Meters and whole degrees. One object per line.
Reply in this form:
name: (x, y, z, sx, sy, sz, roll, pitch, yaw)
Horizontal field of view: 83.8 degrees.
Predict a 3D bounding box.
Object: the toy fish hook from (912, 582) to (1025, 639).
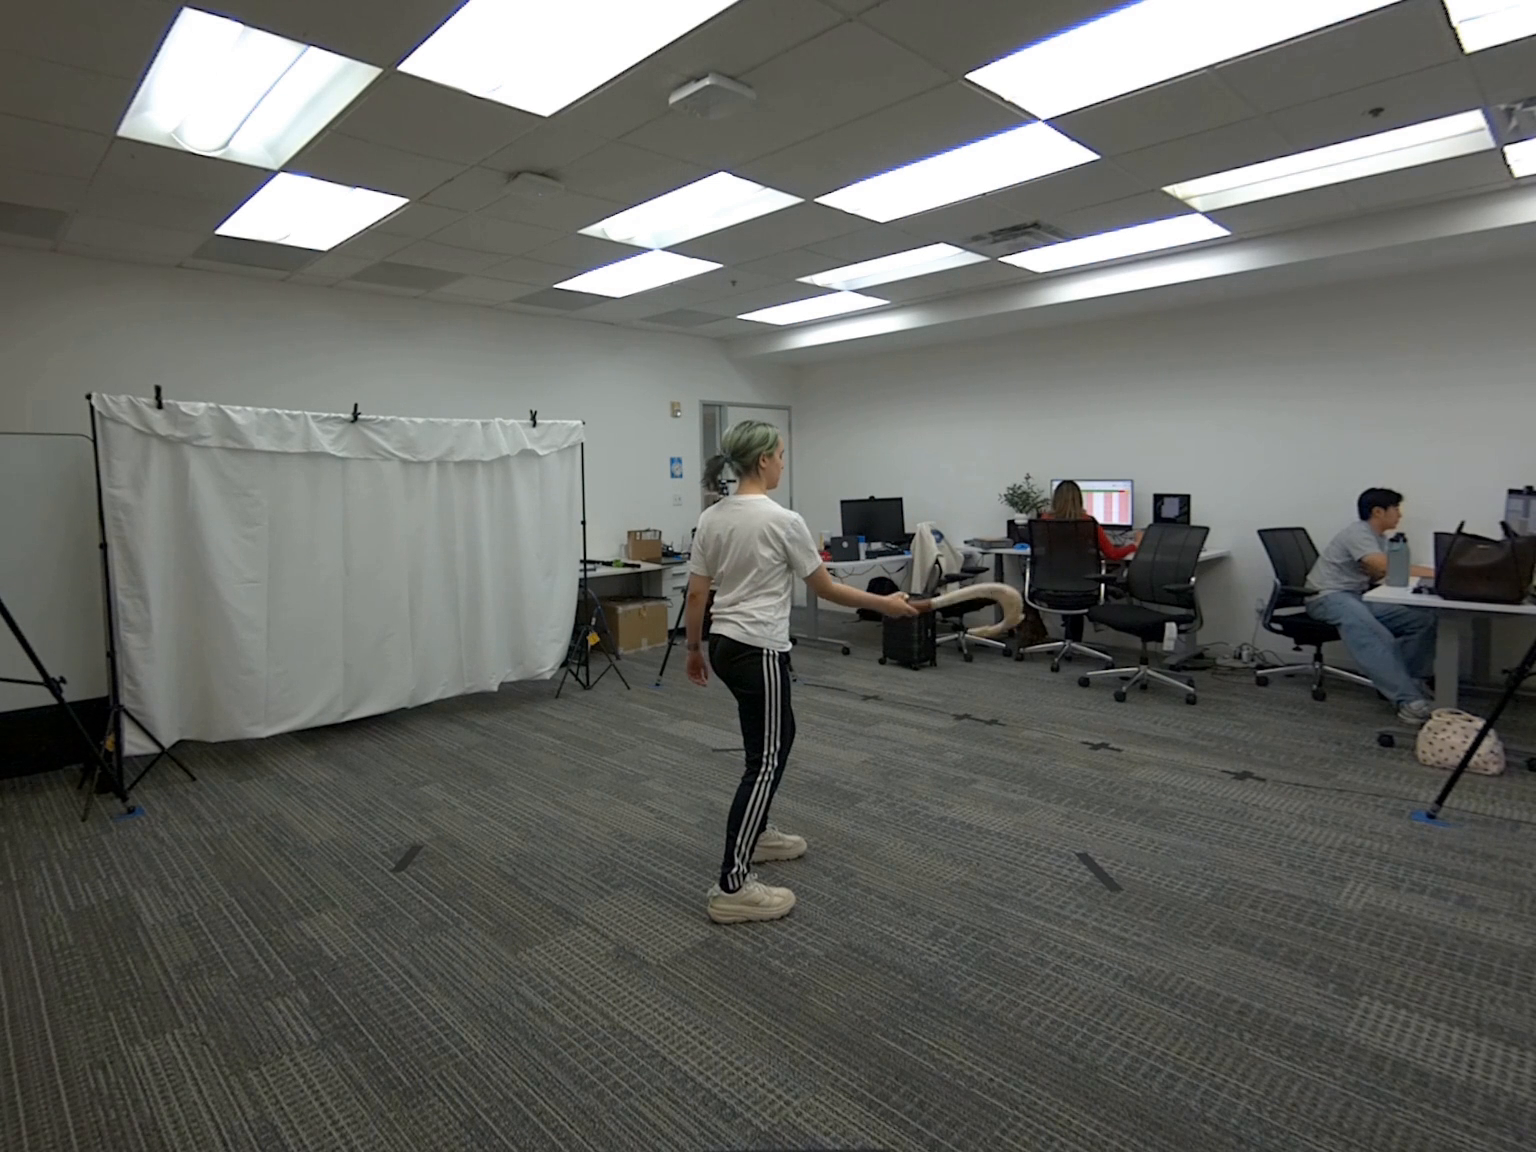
toy fish hook: (0.622, 0.124, 3.061, 0.514, 0.219, 0.049, -7, 24, 18)
